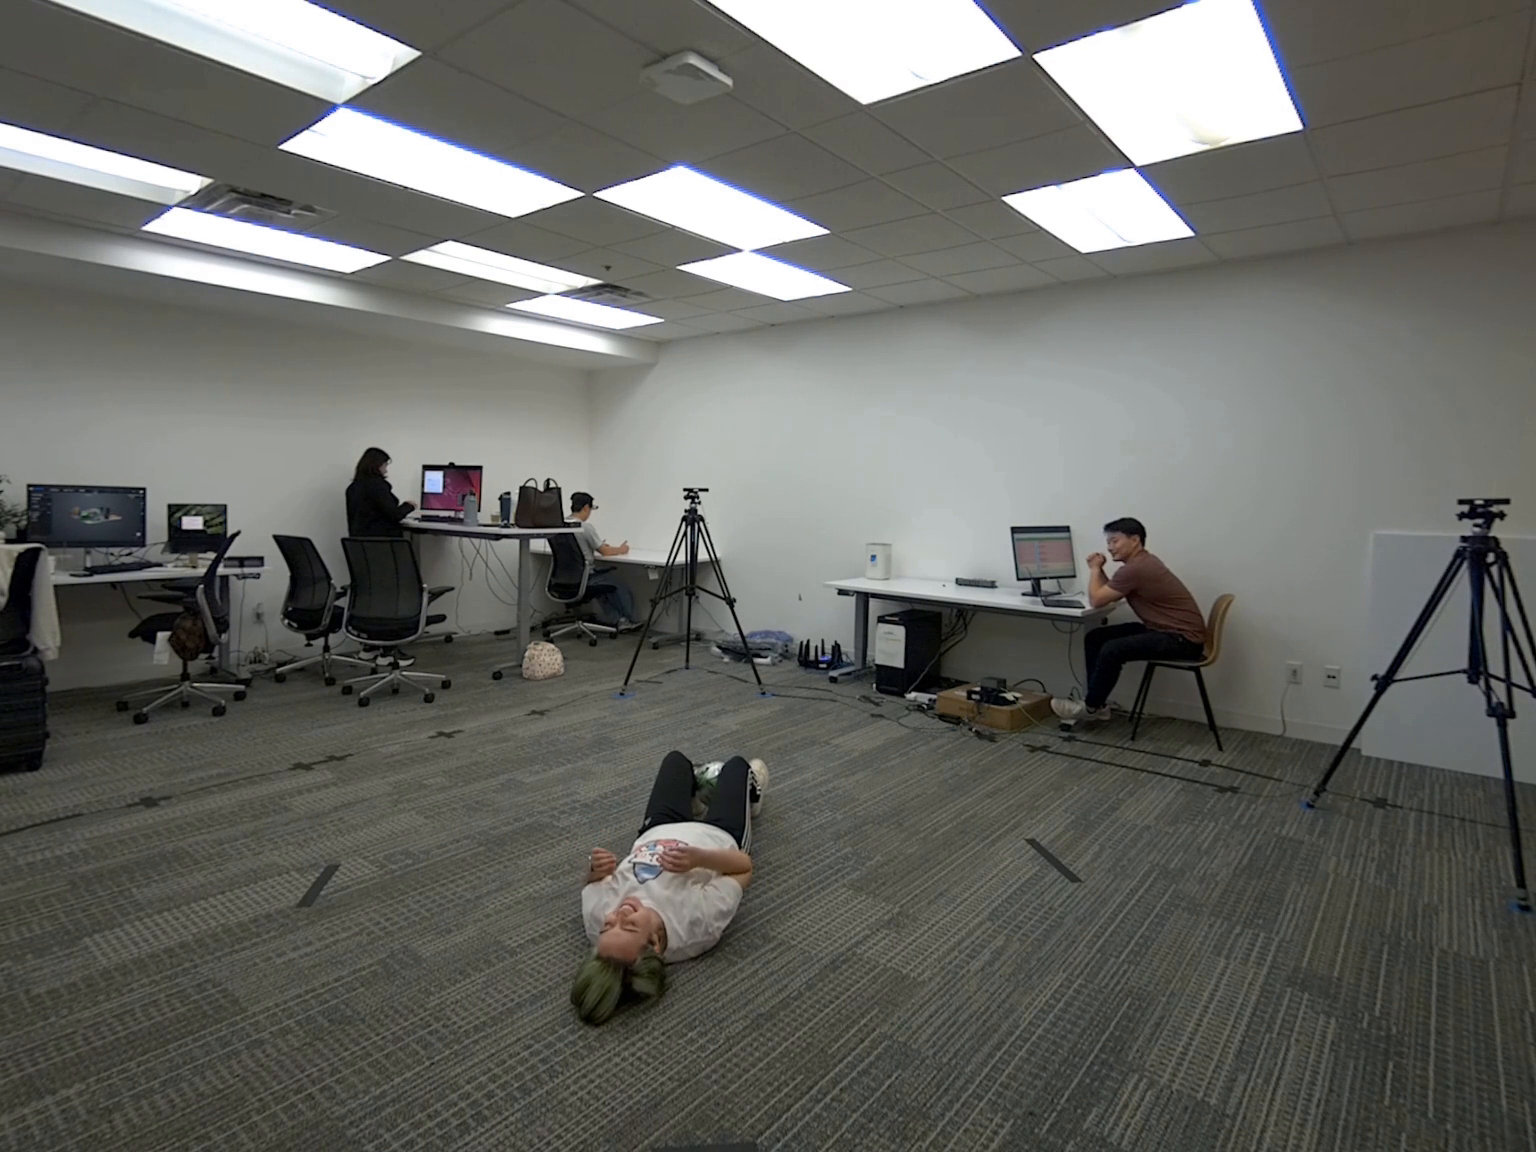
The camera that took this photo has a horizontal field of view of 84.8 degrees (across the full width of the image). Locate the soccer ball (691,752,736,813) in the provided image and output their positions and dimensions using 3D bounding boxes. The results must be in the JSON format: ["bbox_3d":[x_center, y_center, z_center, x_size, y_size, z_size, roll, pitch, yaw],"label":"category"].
[{"bbox_3d":[-0.230,0.861,3.525,0.187,0.187,0.188,1,4,-2],"label":"soccer ball"}]
